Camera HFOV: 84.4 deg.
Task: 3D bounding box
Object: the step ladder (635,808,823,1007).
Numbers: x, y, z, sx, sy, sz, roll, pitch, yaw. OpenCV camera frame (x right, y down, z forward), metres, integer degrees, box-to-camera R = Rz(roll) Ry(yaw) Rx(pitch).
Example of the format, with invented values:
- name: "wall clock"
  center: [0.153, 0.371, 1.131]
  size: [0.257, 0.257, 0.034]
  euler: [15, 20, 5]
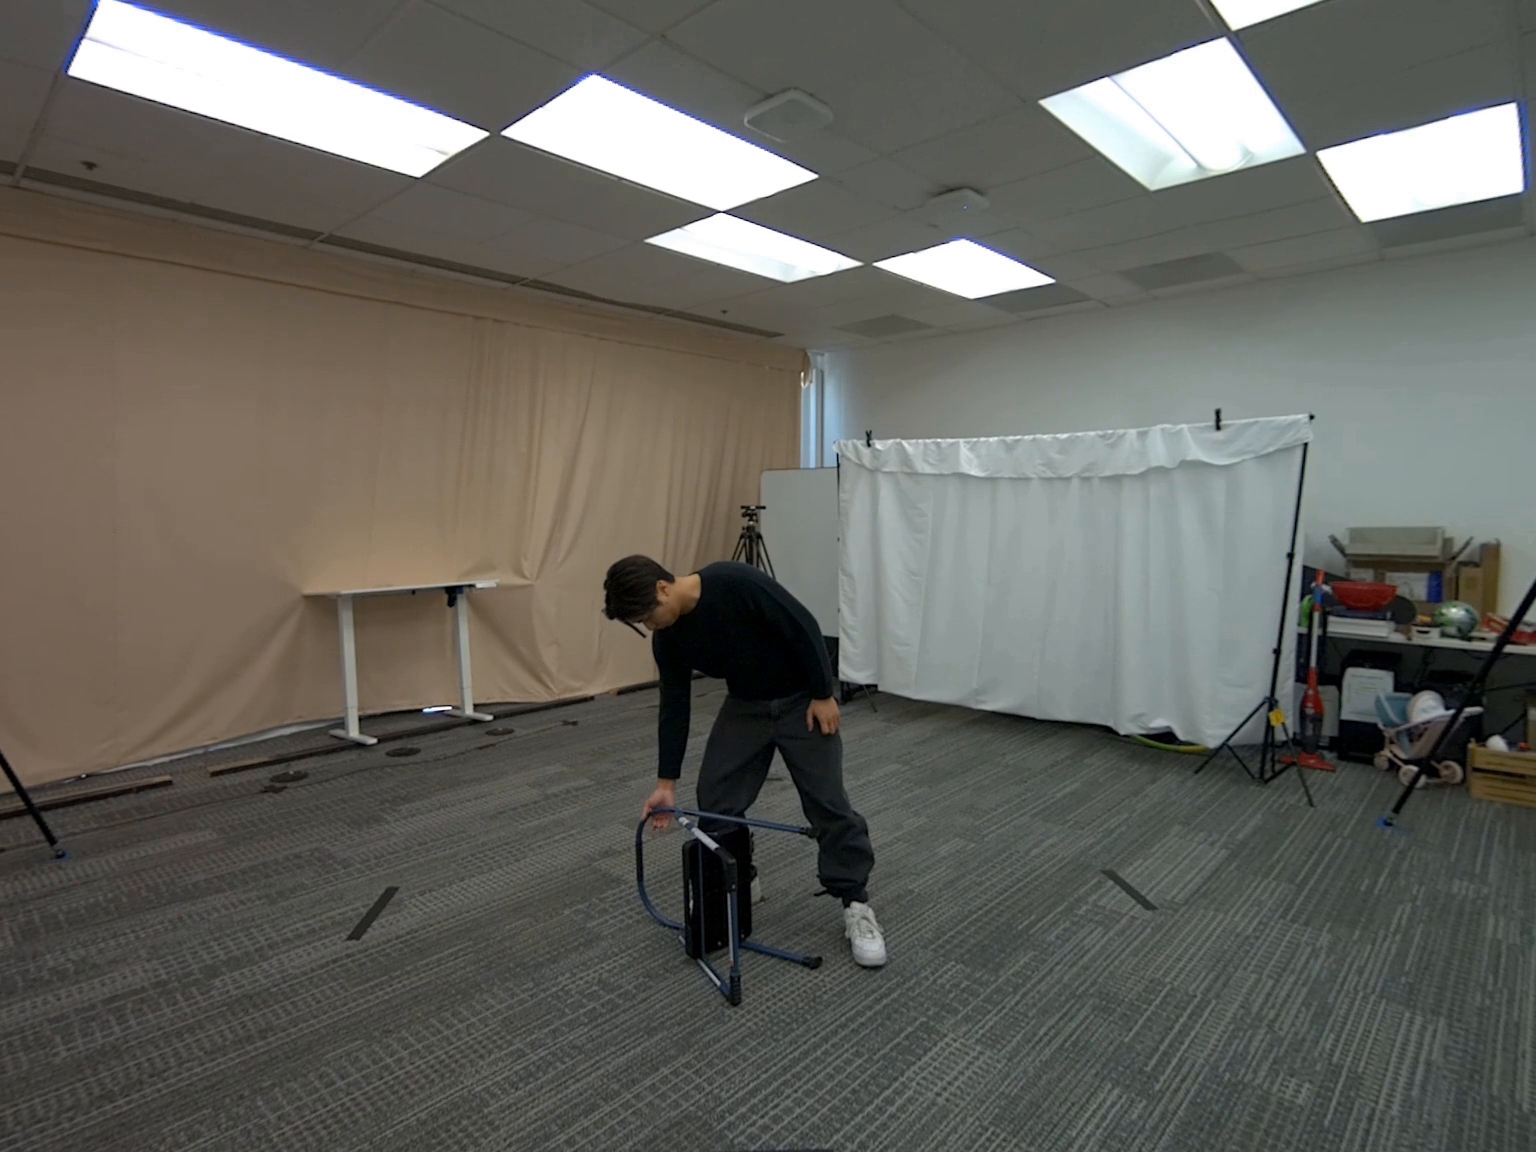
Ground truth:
- name: "step ladder"
  center: [-0.175, 0.964, 2.653]
  size: [0.338, 0.430, 0.626]
  euler: [-3, 3, -42]
